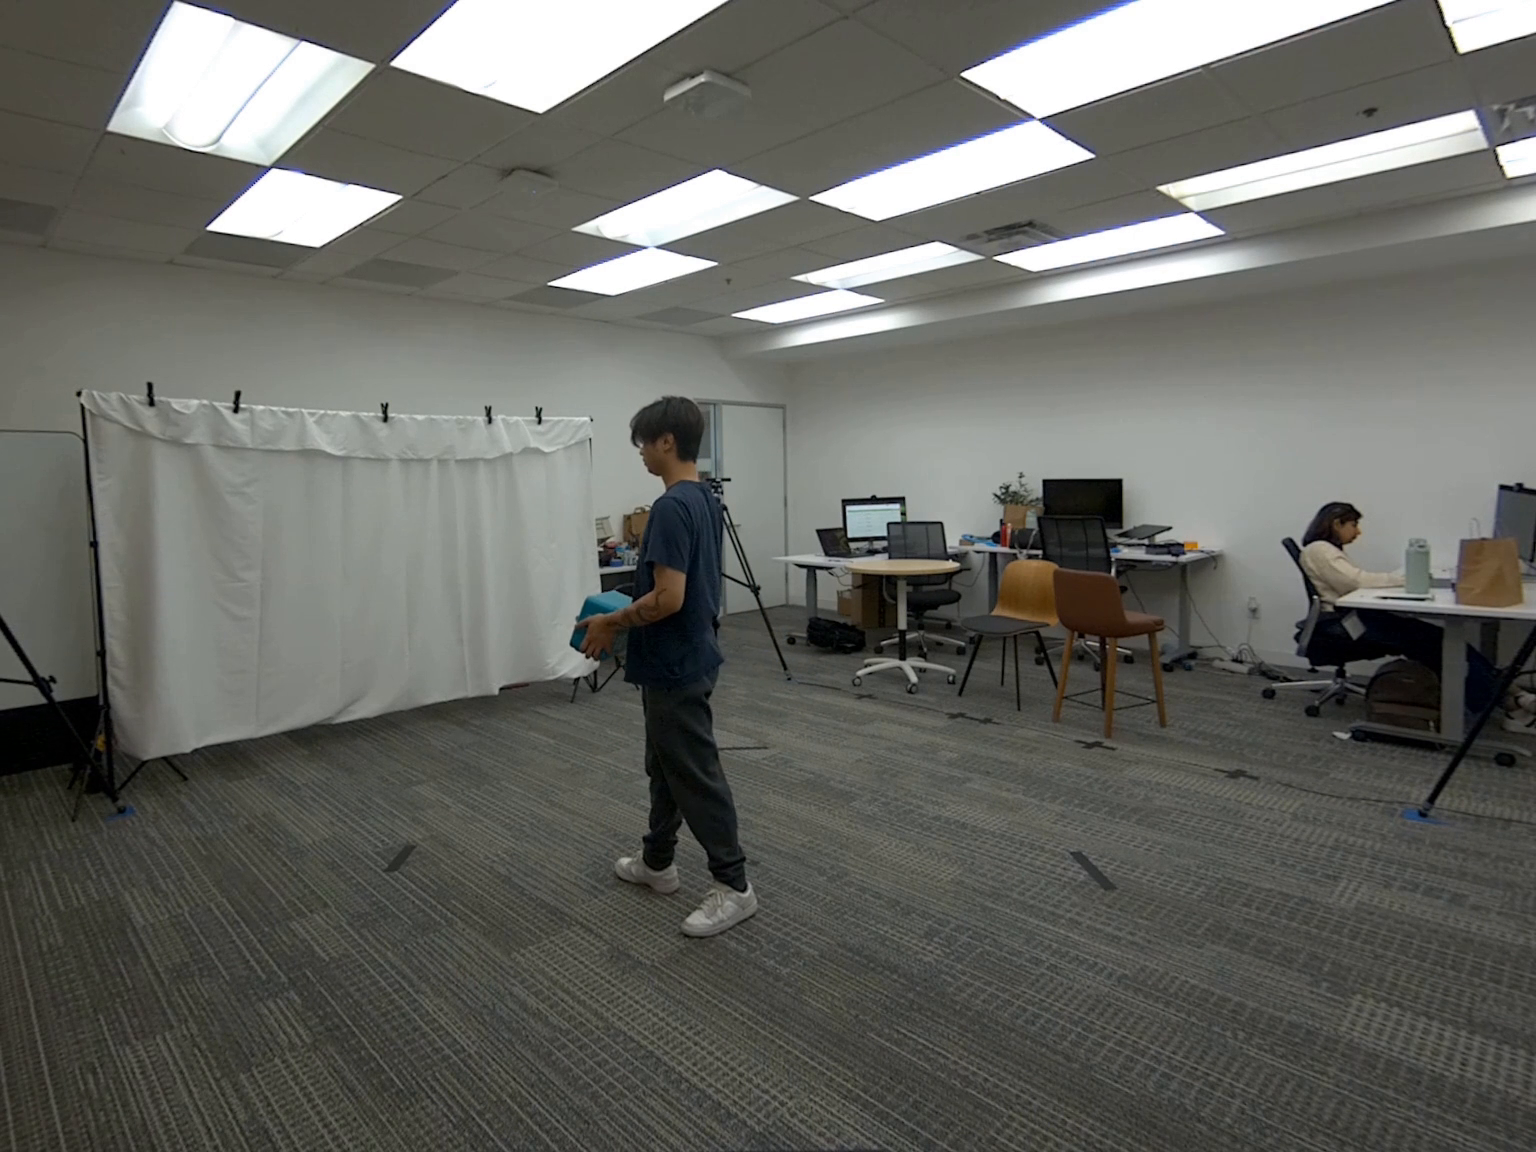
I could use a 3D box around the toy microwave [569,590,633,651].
[{"bbox_3d":[-0.525,0.155,2.811,0.154,0.183,0.283,18,5,8],"label":"toy microwave"}]
